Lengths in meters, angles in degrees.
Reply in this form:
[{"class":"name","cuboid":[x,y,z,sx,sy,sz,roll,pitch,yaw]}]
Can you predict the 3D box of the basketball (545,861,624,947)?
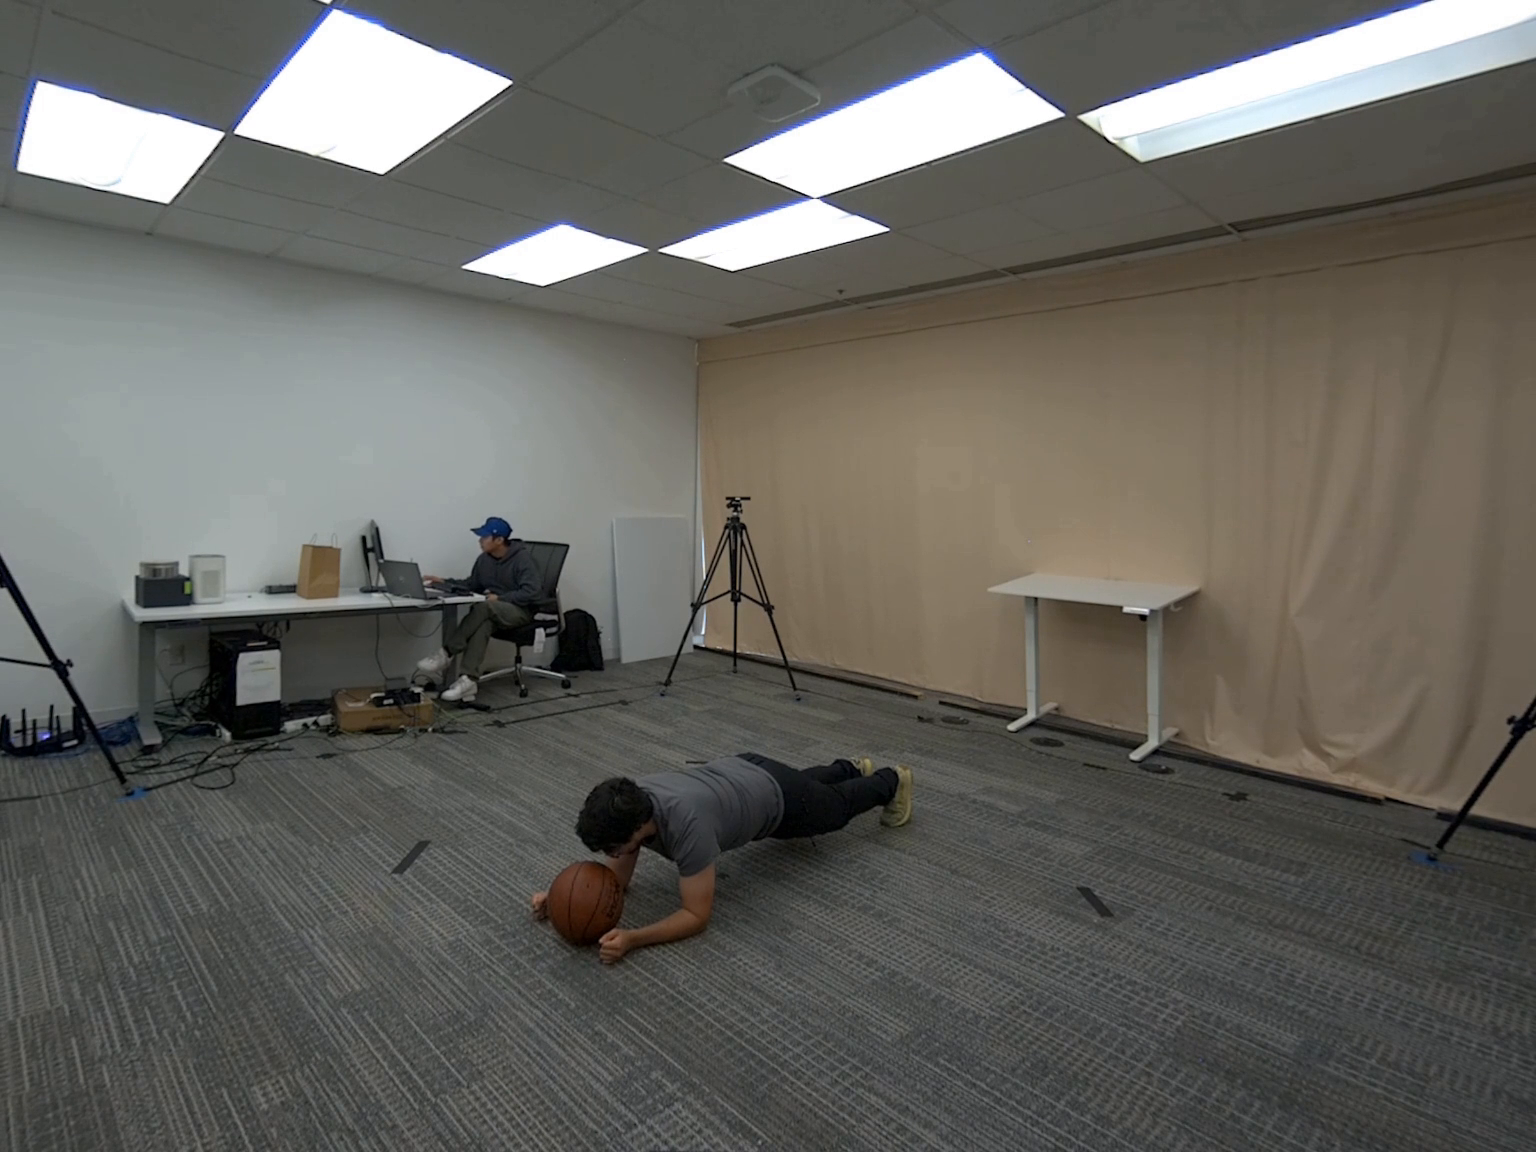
[{"class":"basketball","cuboid":[-0.578,1.021,2.632,0.236,0.235,0.237,1,4,-1]}]
